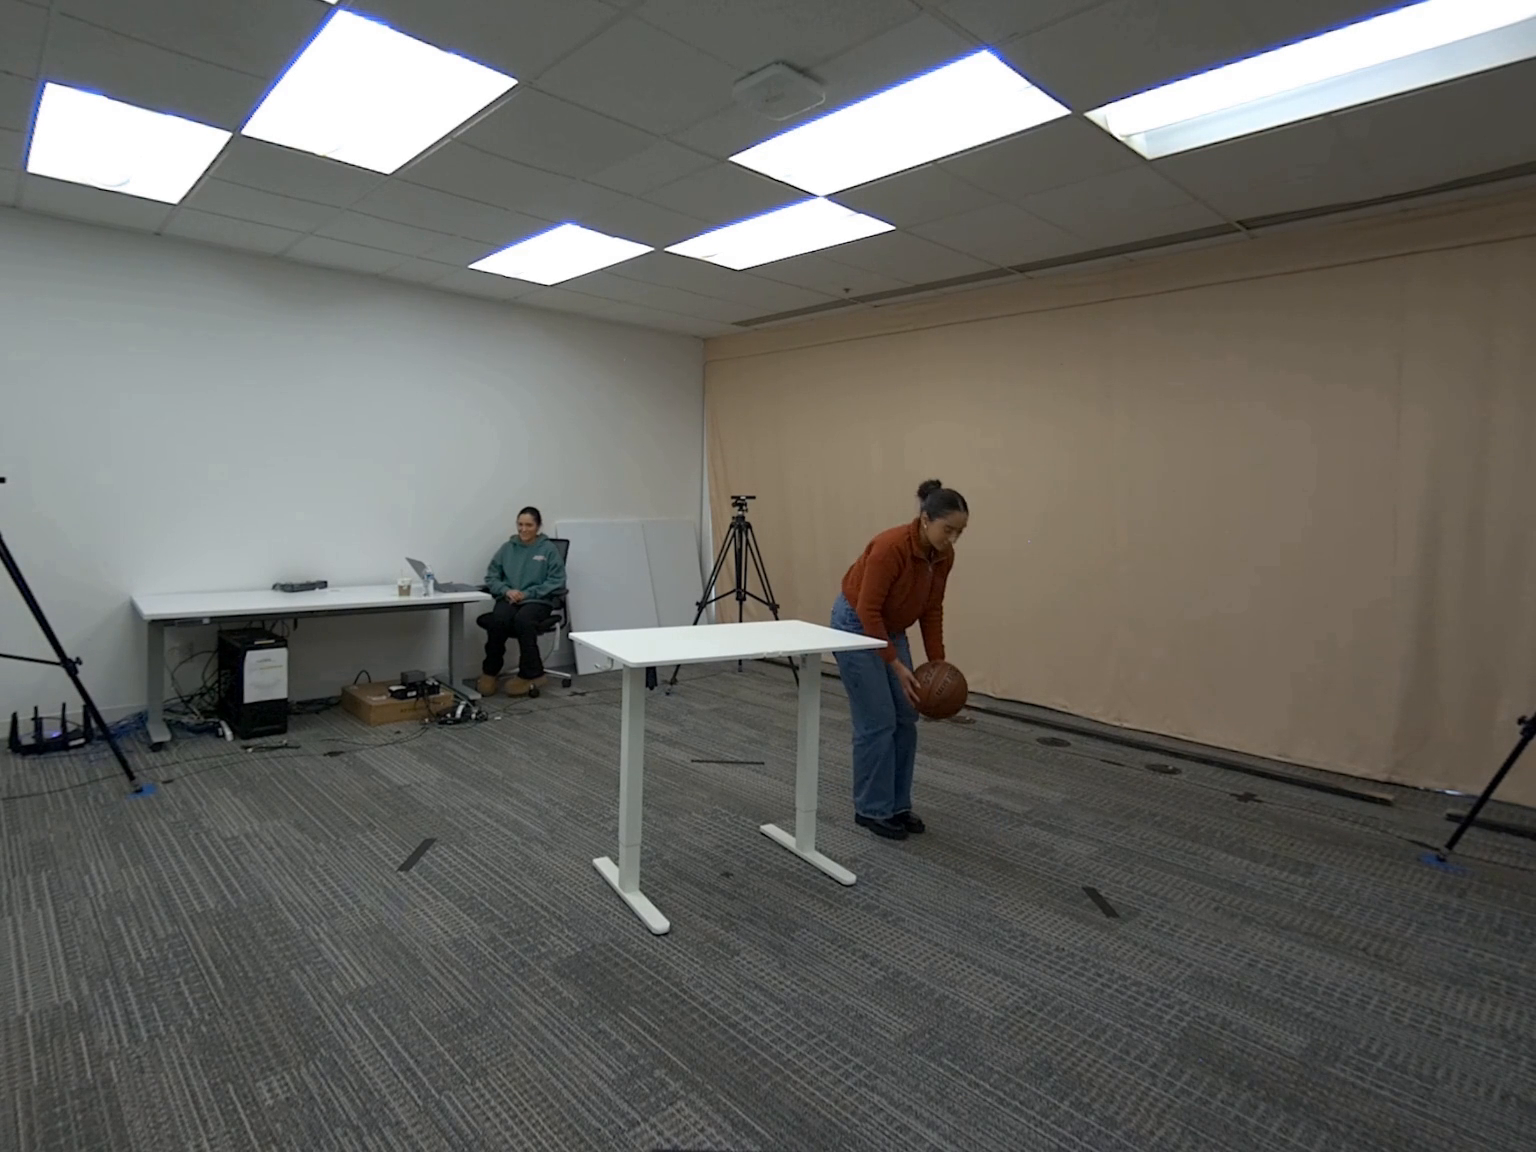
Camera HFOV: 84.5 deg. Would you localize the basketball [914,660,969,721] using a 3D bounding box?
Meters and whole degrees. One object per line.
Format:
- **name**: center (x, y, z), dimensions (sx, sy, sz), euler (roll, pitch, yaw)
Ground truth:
- **basketball**: center (0.678, 0.470, 3.405), dimensions (0.236, 0.235, 0.237), euler (1, 4, -1)
